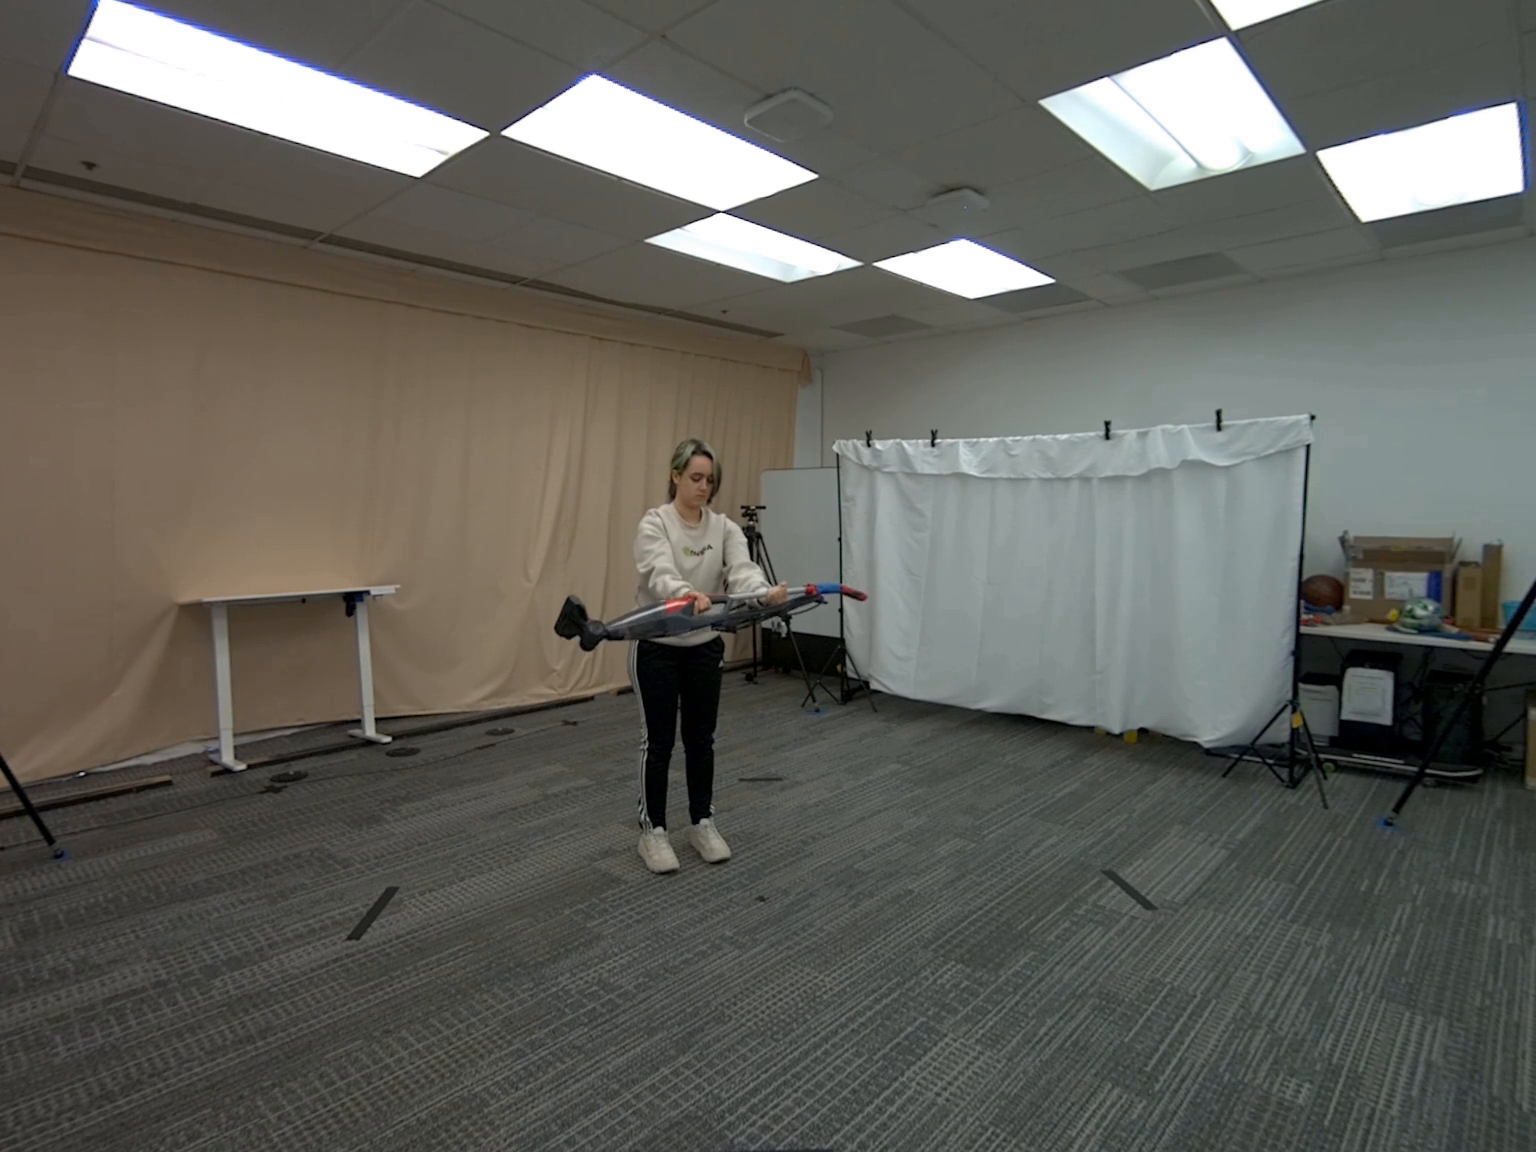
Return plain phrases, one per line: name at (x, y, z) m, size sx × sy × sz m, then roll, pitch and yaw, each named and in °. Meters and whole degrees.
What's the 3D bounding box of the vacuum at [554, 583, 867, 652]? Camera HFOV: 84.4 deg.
vacuum at (-0.146, 0.123, 2.778) m, size 1.026 × 0.146 × 0.254 m, roll -6°, pitch -20°, yaw -24°
